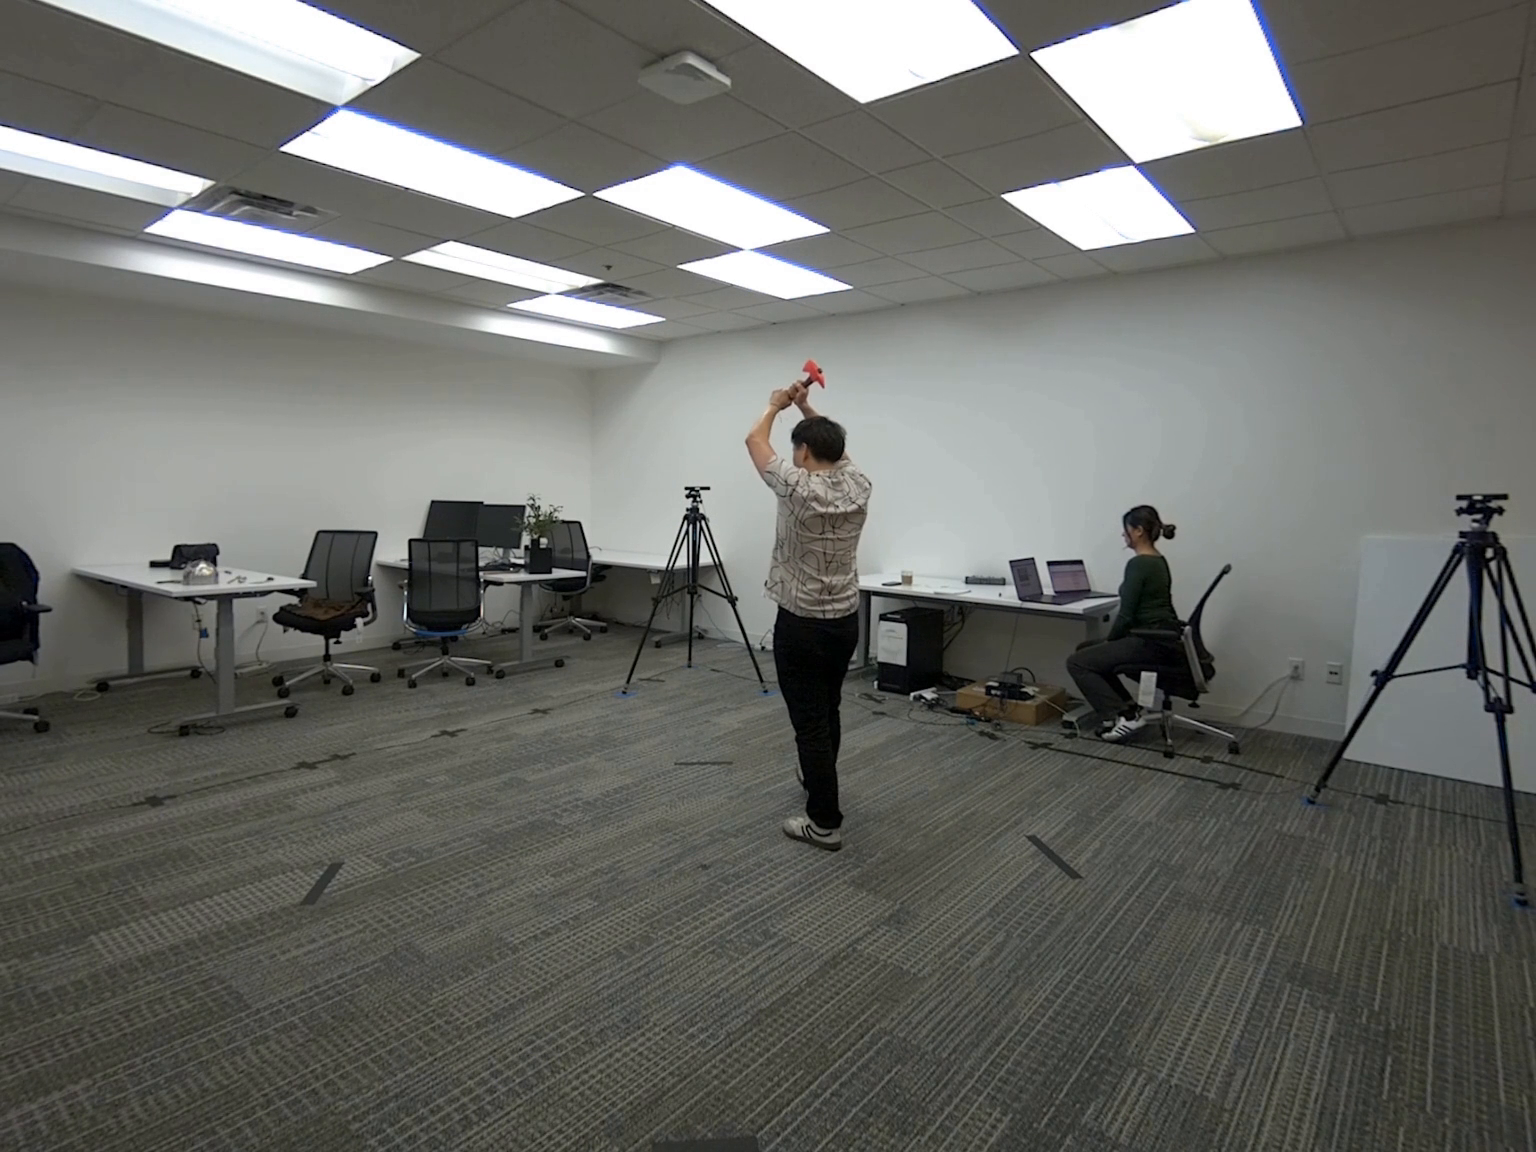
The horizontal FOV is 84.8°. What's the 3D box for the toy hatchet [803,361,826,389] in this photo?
[{"bbox_3d":[0.119,-0.817,3.521,0.029,0.130,0.277,-18,8,-39],"label":"toy hatchet"}]
